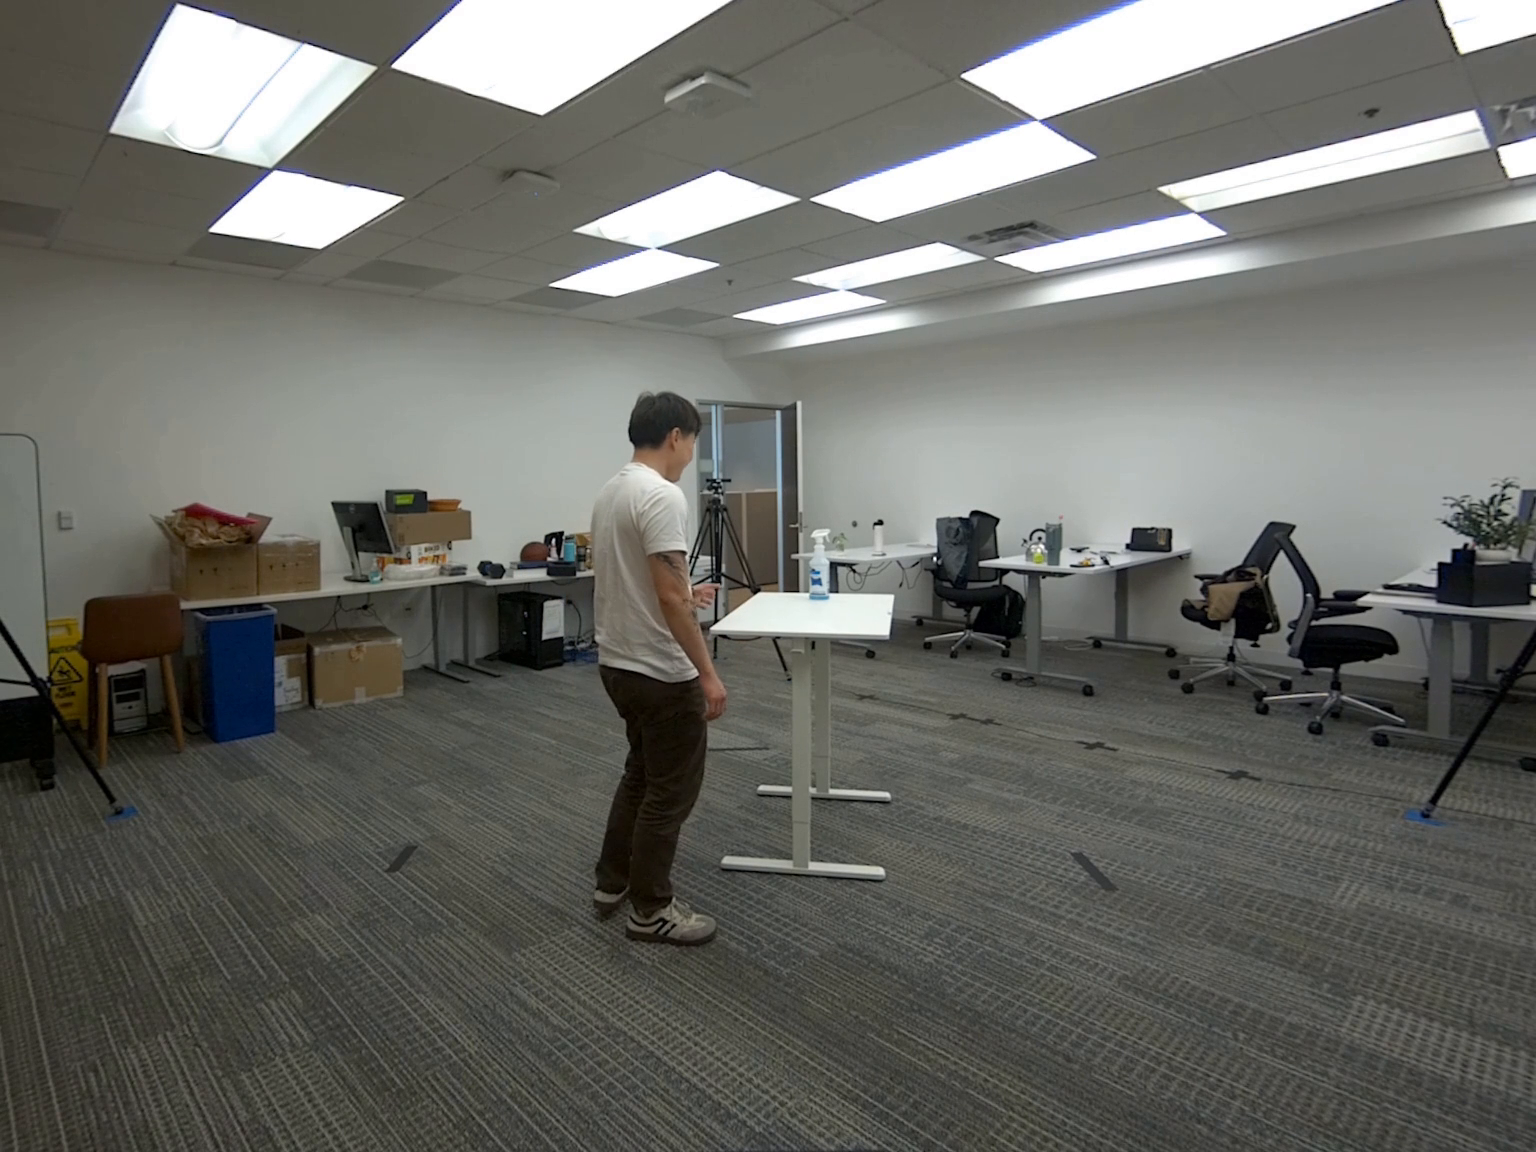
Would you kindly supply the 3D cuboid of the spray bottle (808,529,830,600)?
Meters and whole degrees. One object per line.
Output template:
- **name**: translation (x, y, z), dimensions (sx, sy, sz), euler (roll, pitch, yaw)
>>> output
- **spray bottle**: translation (0.223, -0.048, 3.648), dimensions (0.090, 0.296, 0.087), euler (0, 3, -1)
